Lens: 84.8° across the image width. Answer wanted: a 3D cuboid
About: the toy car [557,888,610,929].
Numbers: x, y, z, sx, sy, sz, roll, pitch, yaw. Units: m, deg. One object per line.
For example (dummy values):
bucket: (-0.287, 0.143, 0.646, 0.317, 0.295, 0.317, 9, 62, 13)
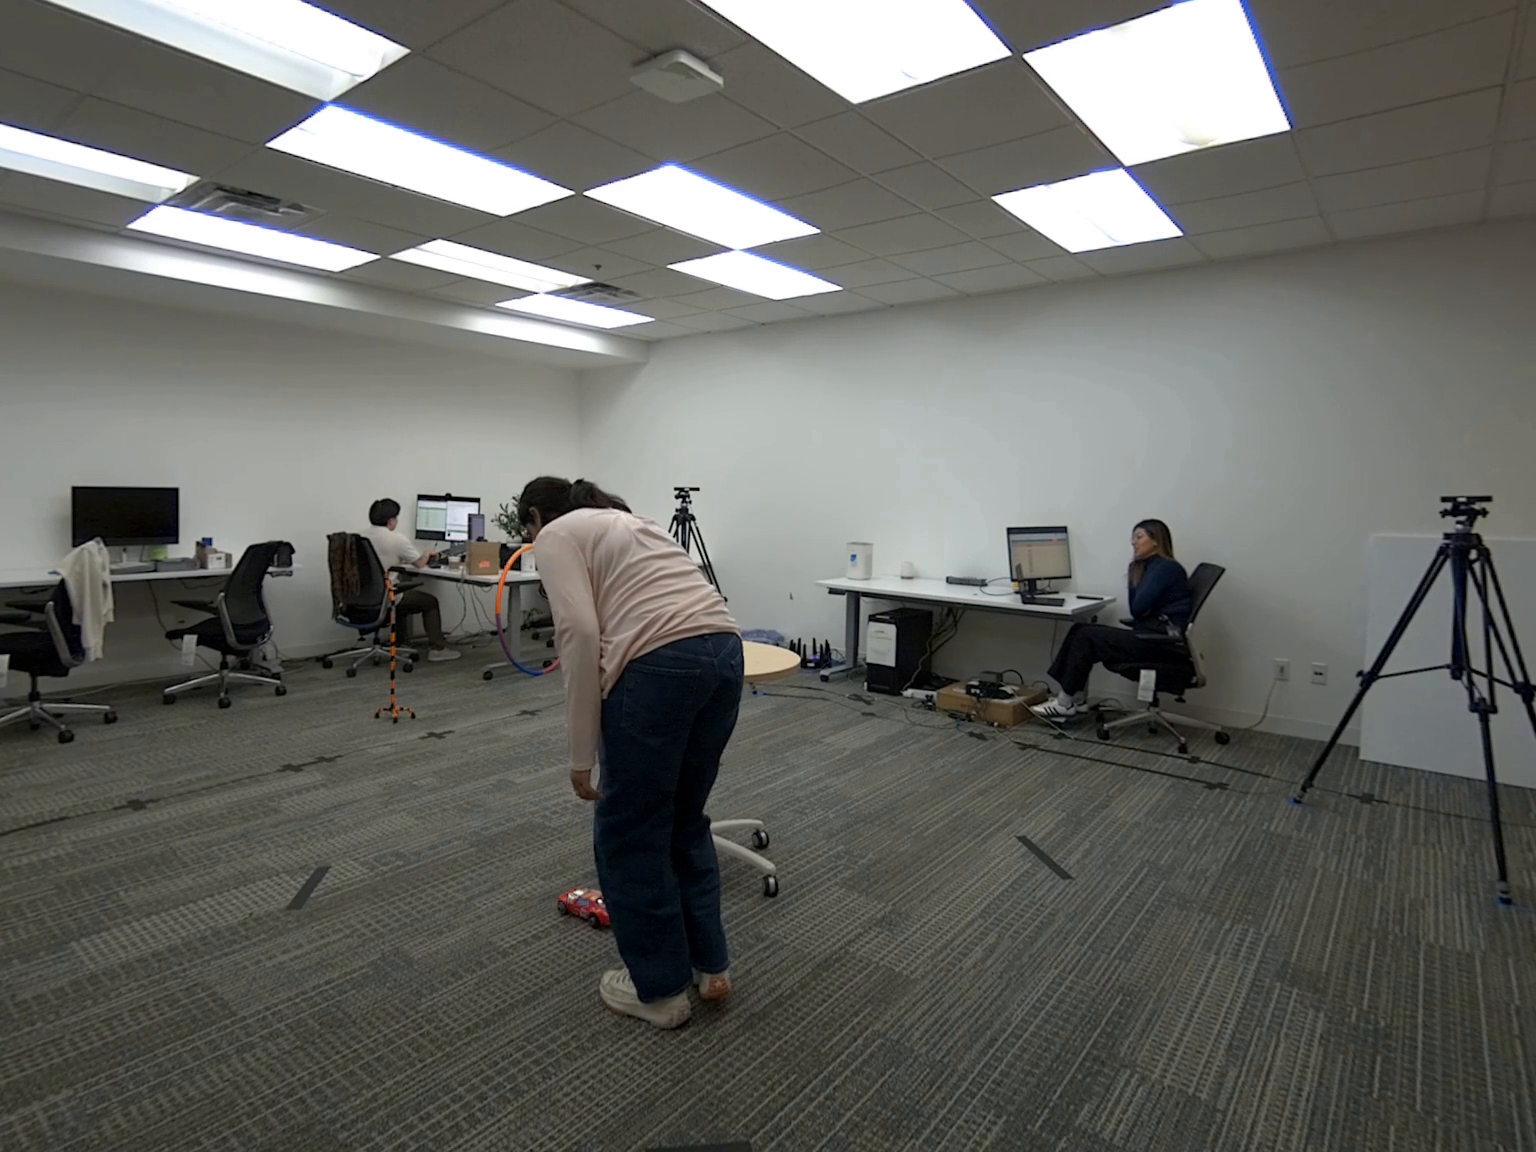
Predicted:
toy car: (-0.572, 1.066, 2.741, 0.261, 0.083, 0.127, -8, -1, 35)
